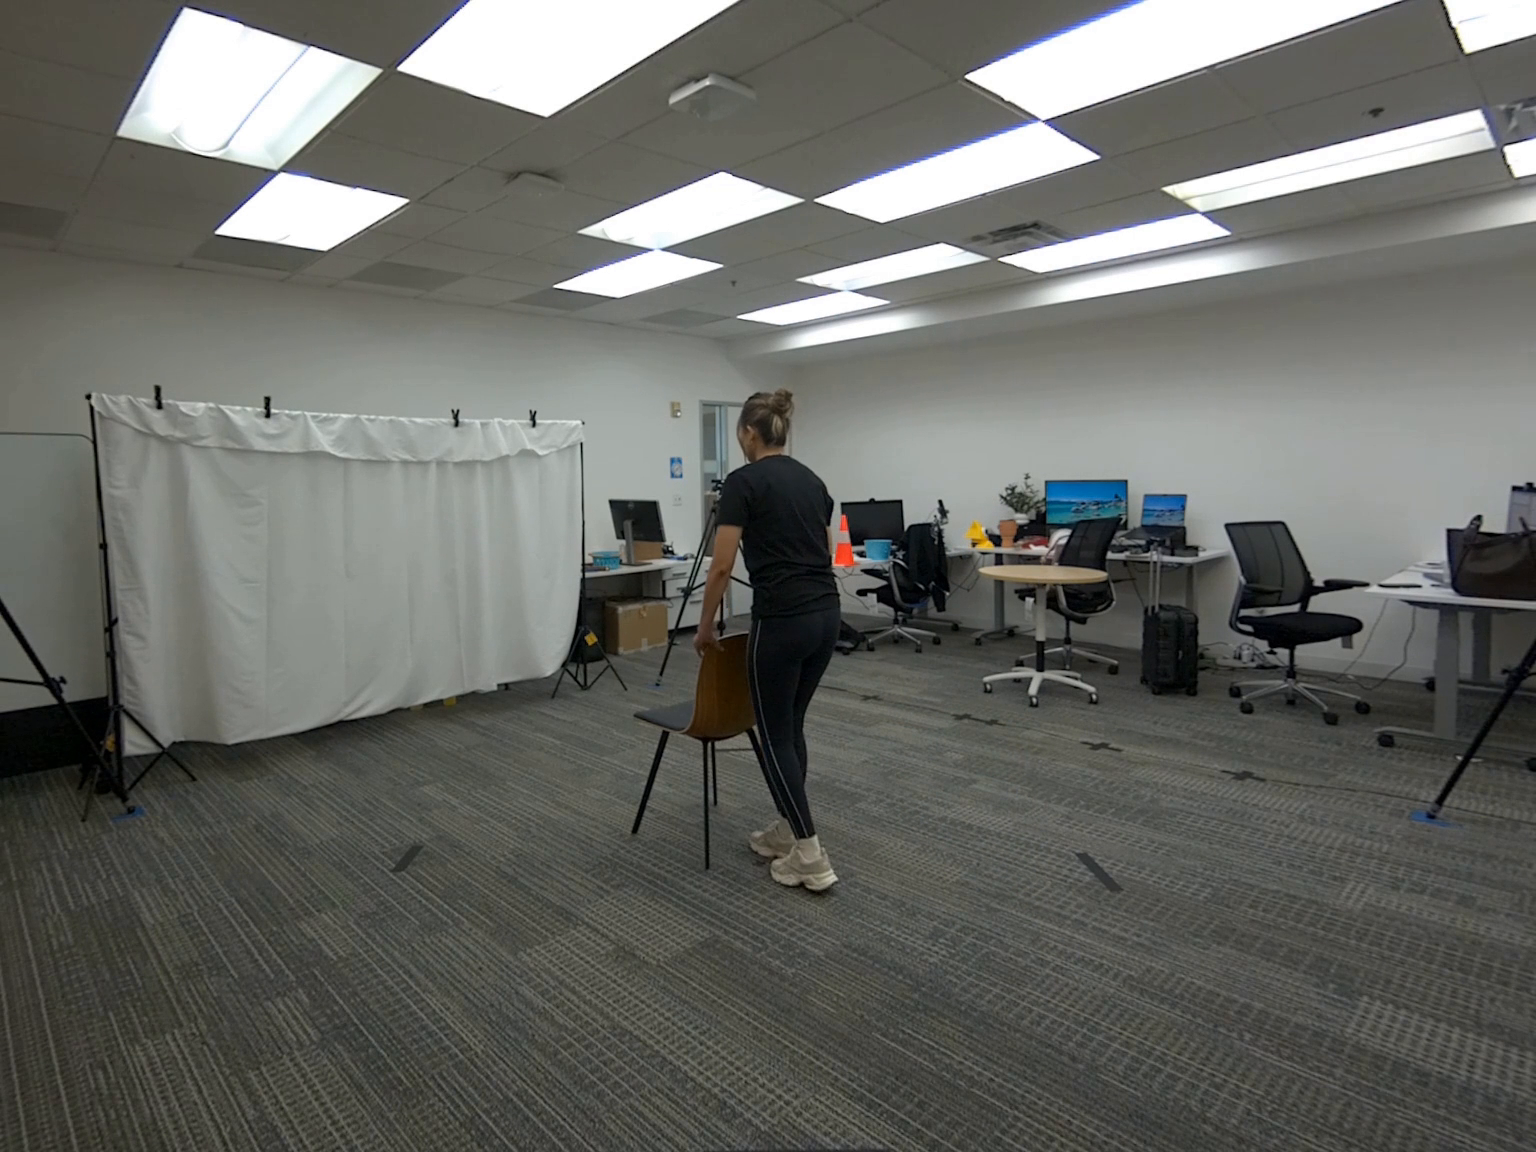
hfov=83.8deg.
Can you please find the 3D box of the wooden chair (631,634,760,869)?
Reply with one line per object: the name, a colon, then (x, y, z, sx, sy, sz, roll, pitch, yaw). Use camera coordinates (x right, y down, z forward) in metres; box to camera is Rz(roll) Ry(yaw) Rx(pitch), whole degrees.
wooden chair: (-0.237, 0.596, 3.353, 0.465, 0.872, 0.540, -5, 10, -44)
